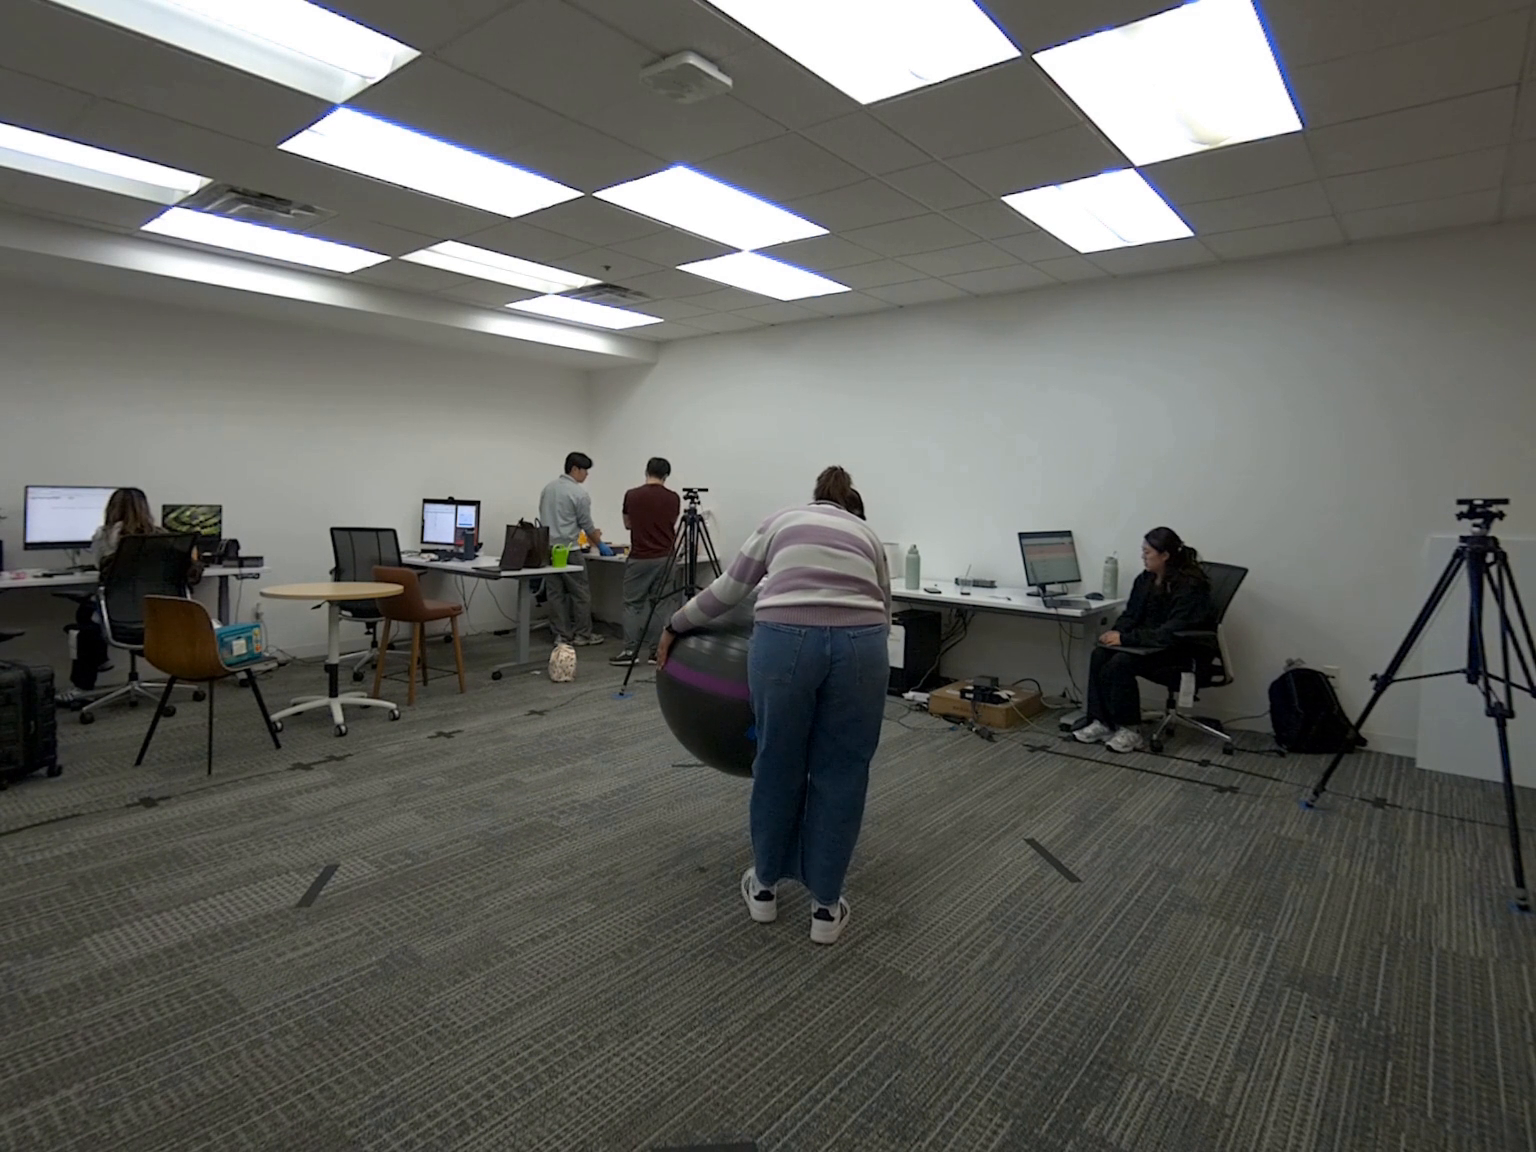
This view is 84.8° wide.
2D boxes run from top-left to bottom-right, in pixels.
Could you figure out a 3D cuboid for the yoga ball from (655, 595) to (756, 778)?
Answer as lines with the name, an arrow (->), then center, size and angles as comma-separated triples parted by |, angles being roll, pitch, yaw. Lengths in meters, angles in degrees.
yoga ball -> -0.059, 0.378, 3.227 | 0.757, 0.756, 0.762 | 1, 4, -2
